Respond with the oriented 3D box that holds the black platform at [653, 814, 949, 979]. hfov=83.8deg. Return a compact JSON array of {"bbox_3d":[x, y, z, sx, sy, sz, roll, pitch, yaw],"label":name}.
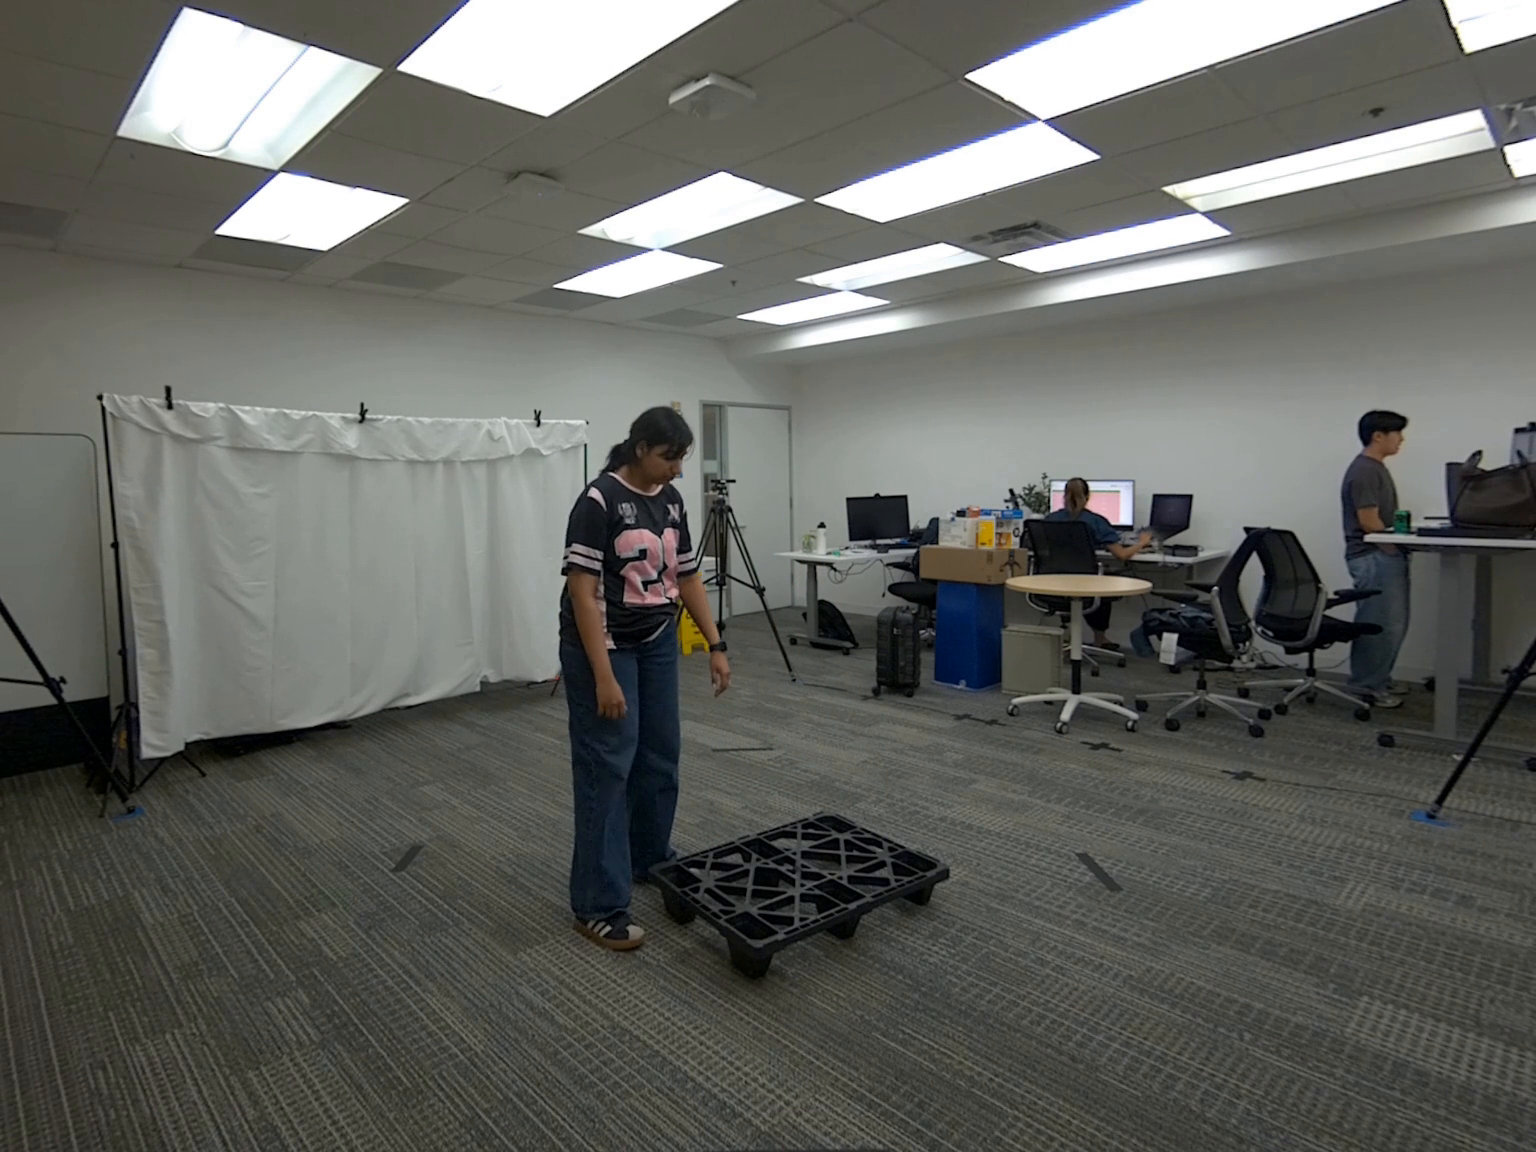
[{"bbox_3d":[0.108,1.017,2.781,0.785,0.142,0.624,-6,9,-36],"label":"black platform"}]
